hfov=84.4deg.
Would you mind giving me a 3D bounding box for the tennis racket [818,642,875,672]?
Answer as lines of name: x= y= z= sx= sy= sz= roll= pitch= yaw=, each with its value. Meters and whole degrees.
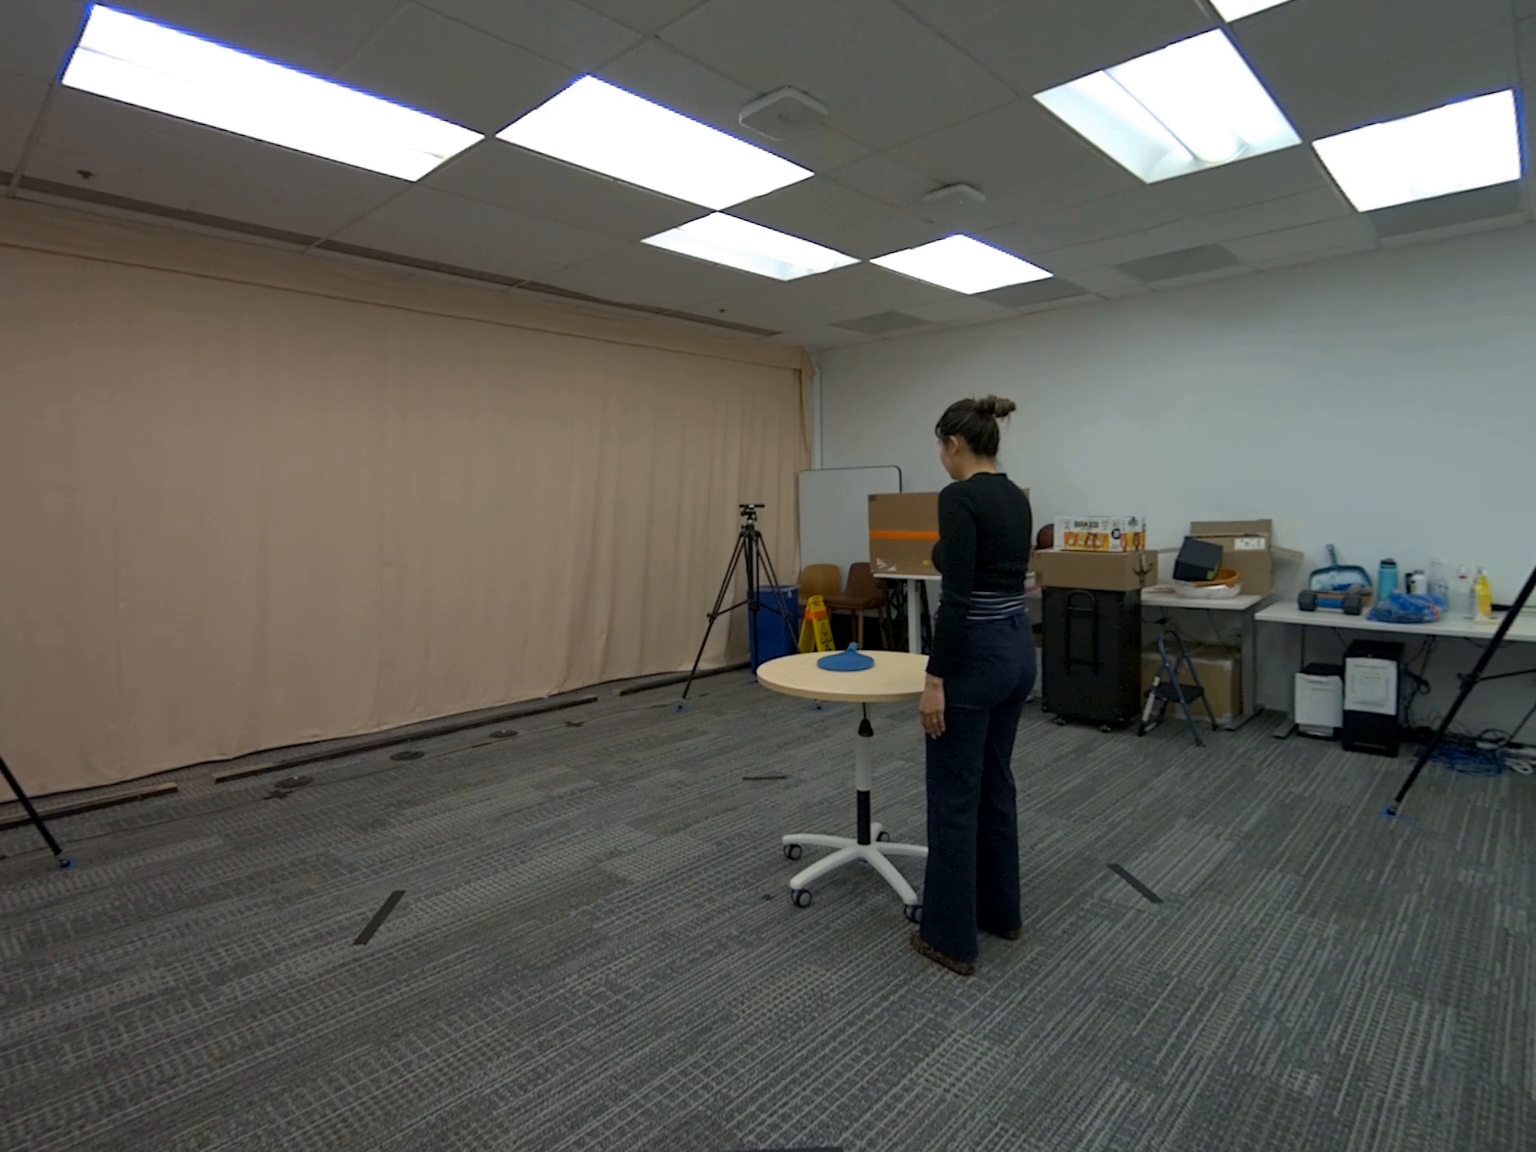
tennis racket: x=0.310 y=0.315 z=3.247 sx=0.217 sy=0.031 sz=0.428 roll=0 pitch=7 yaw=12
